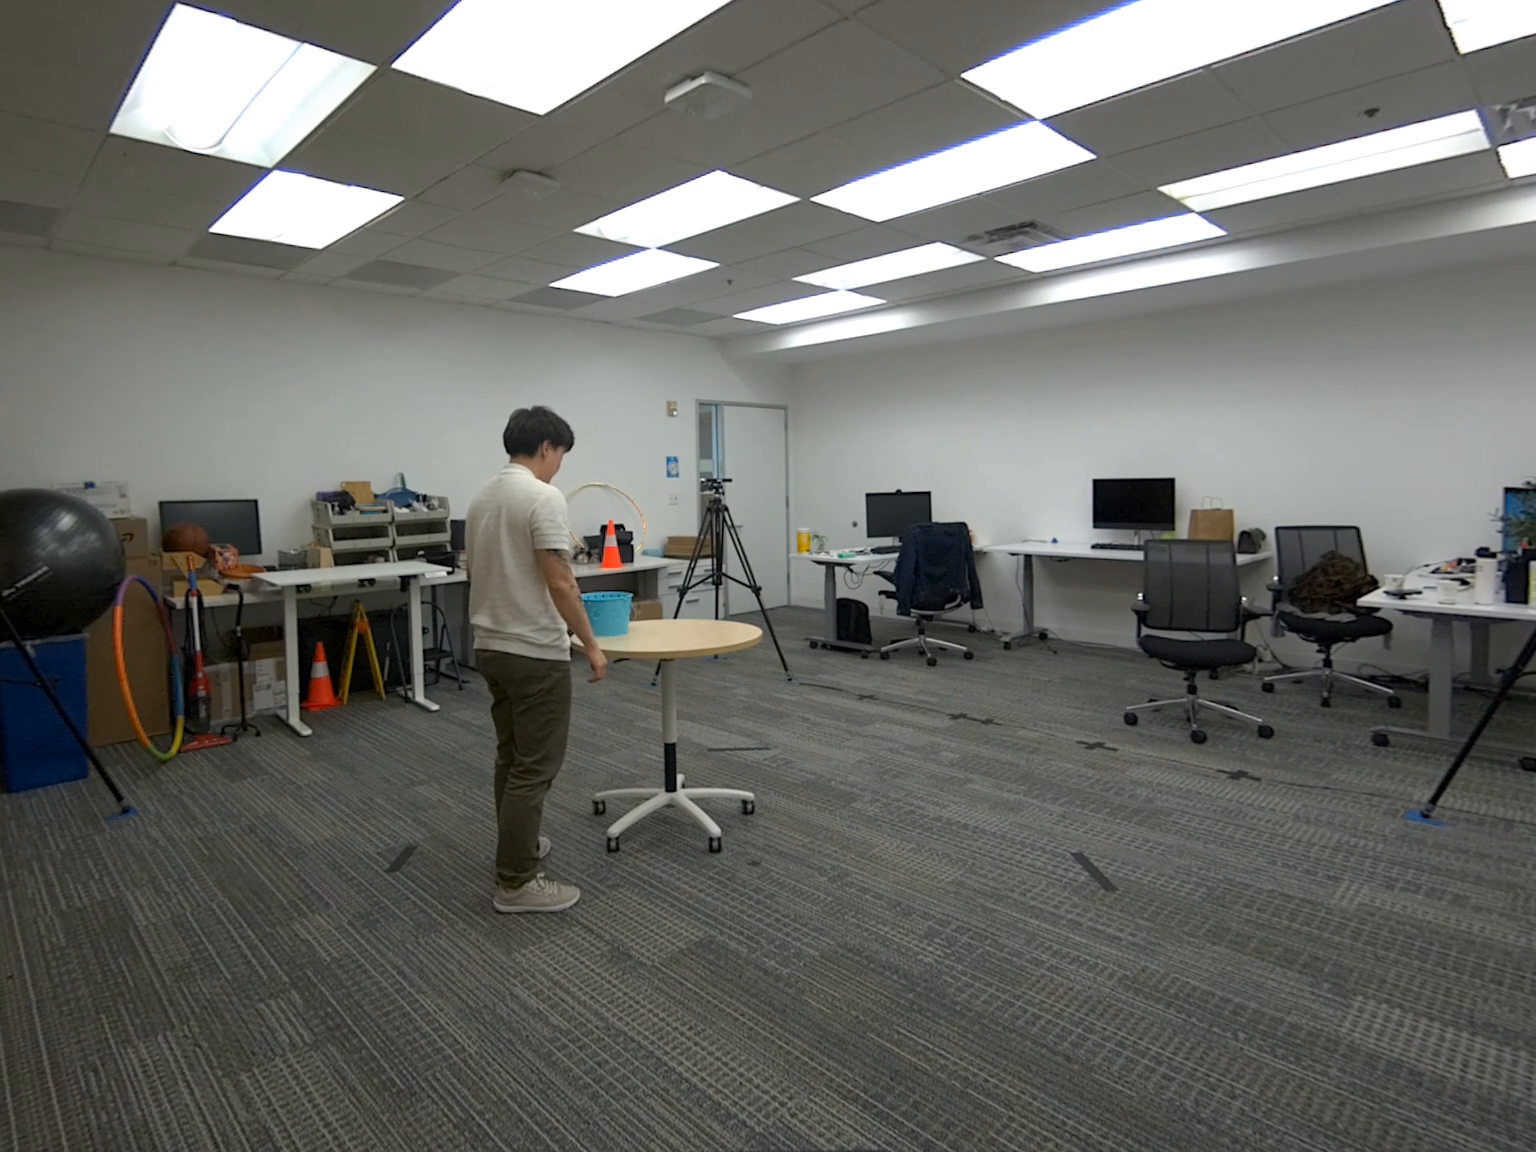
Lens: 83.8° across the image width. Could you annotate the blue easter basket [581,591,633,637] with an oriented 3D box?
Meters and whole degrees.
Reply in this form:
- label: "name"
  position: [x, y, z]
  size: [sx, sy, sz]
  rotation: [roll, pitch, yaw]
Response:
- label: "blue easter basket"
  position: [-0.664, 0.157, 3.484]
  size: [0.243, 0.155, 0.245]
  rotation: [-2, 6, -1]
